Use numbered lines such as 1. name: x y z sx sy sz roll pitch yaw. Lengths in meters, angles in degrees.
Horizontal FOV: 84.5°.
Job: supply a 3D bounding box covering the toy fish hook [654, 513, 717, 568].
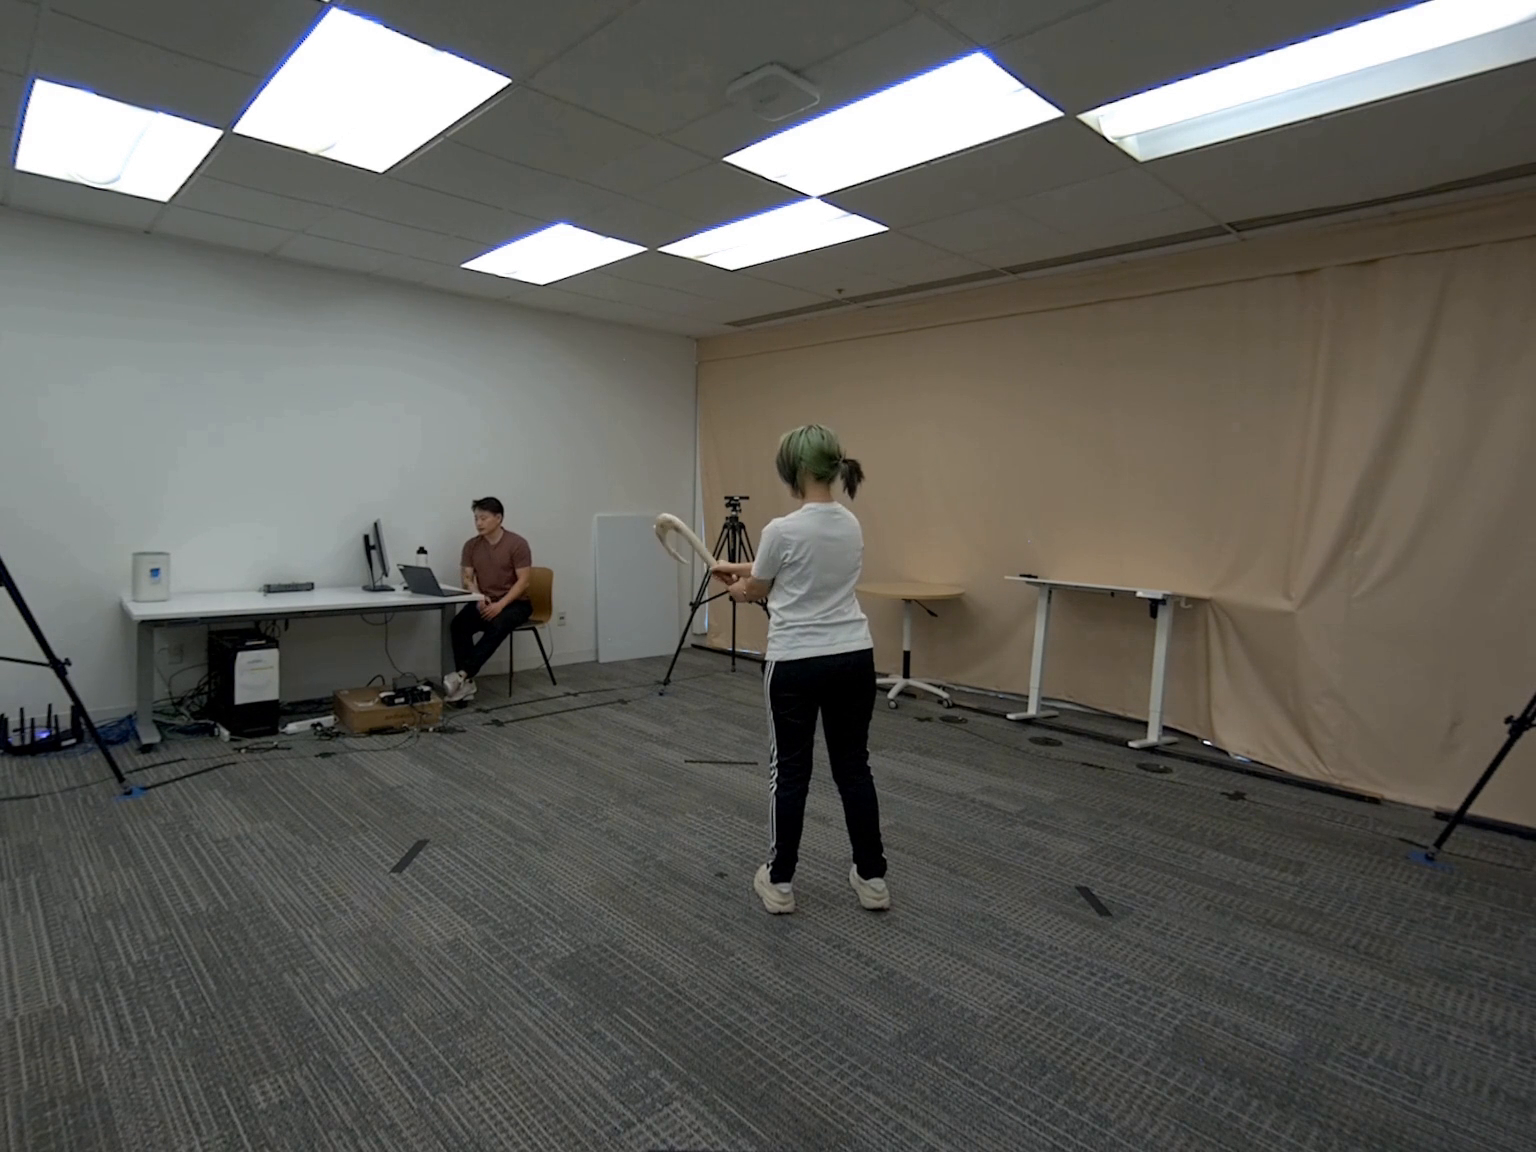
1. toy fish hook: -0.261 -0.042 3.319 0.048 0.512 0.223 -41 -12 -31
